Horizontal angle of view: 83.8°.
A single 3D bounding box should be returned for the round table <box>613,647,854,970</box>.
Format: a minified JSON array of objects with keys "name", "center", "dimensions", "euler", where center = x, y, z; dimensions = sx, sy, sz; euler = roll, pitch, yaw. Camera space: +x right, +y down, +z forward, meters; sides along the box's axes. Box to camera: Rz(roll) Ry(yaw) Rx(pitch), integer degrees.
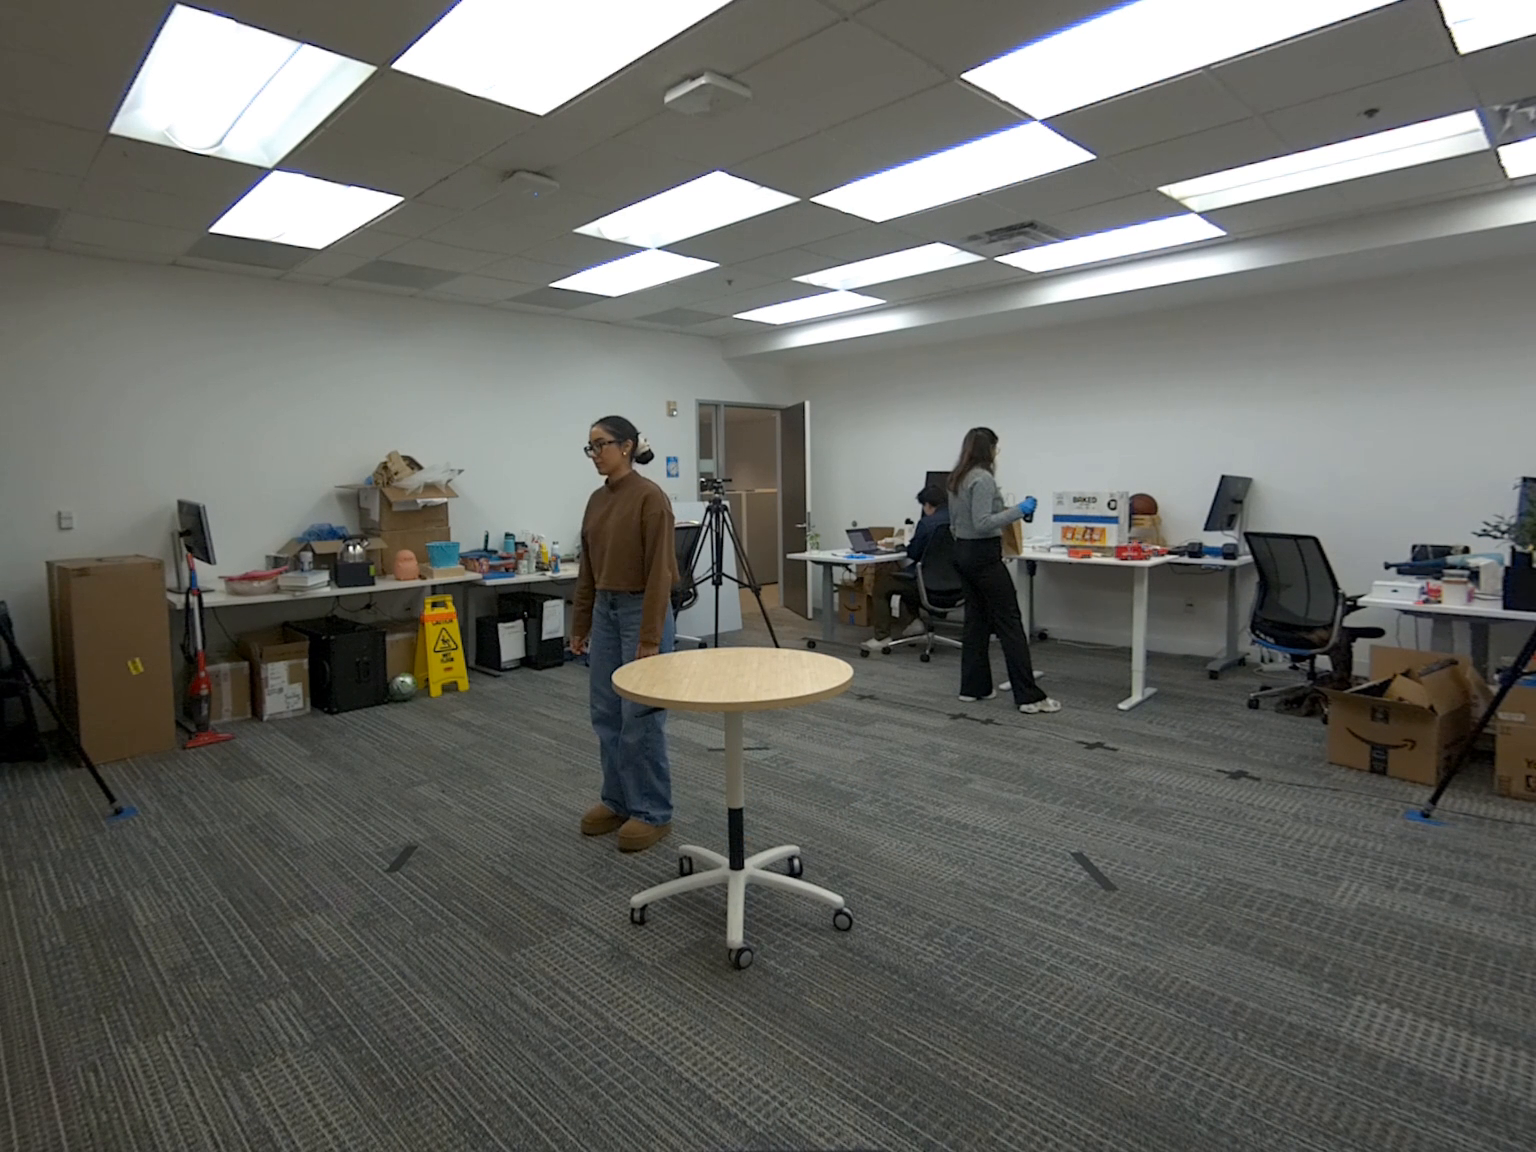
[{"name":"round table","center":[-0.101,0.696,2.749],"dimensions":[0.763,0.791,0.768],"euler":[-1,5,-2]}]
